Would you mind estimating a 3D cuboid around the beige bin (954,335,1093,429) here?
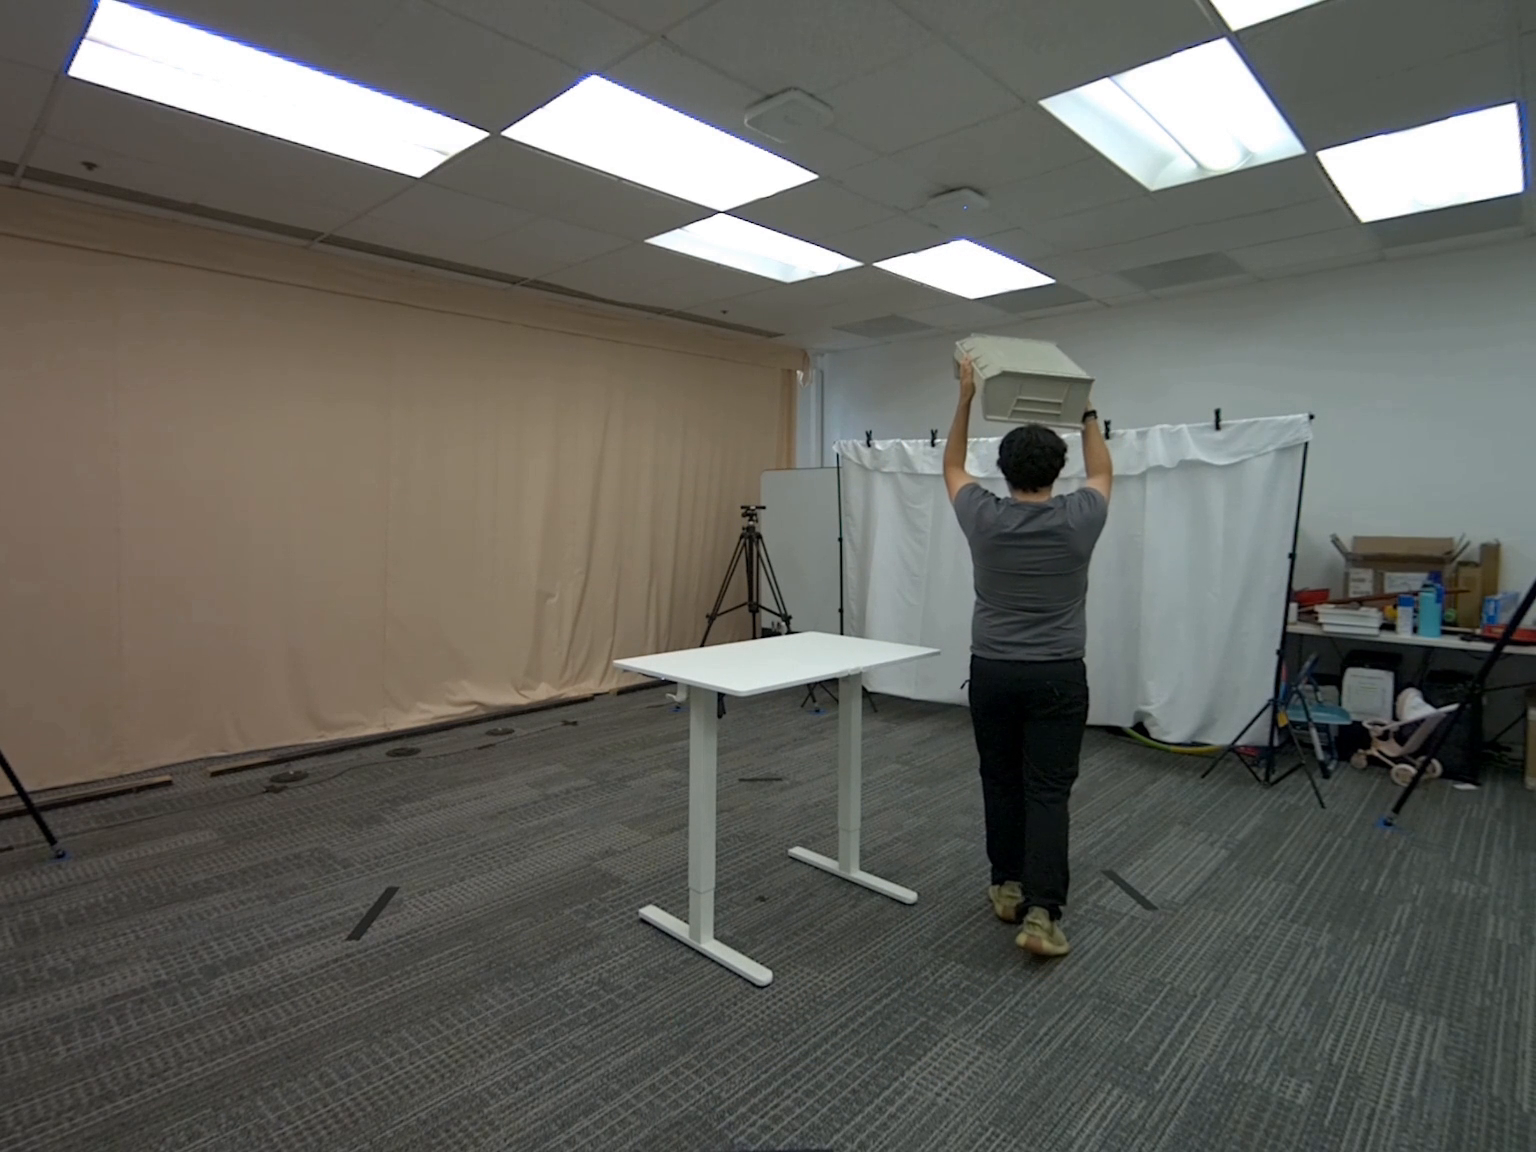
[{"bbox_3d":[0.894,-0.704,2.967,0.375,0.187,0.430,6,31,-5],"label":"beige bin"}]
